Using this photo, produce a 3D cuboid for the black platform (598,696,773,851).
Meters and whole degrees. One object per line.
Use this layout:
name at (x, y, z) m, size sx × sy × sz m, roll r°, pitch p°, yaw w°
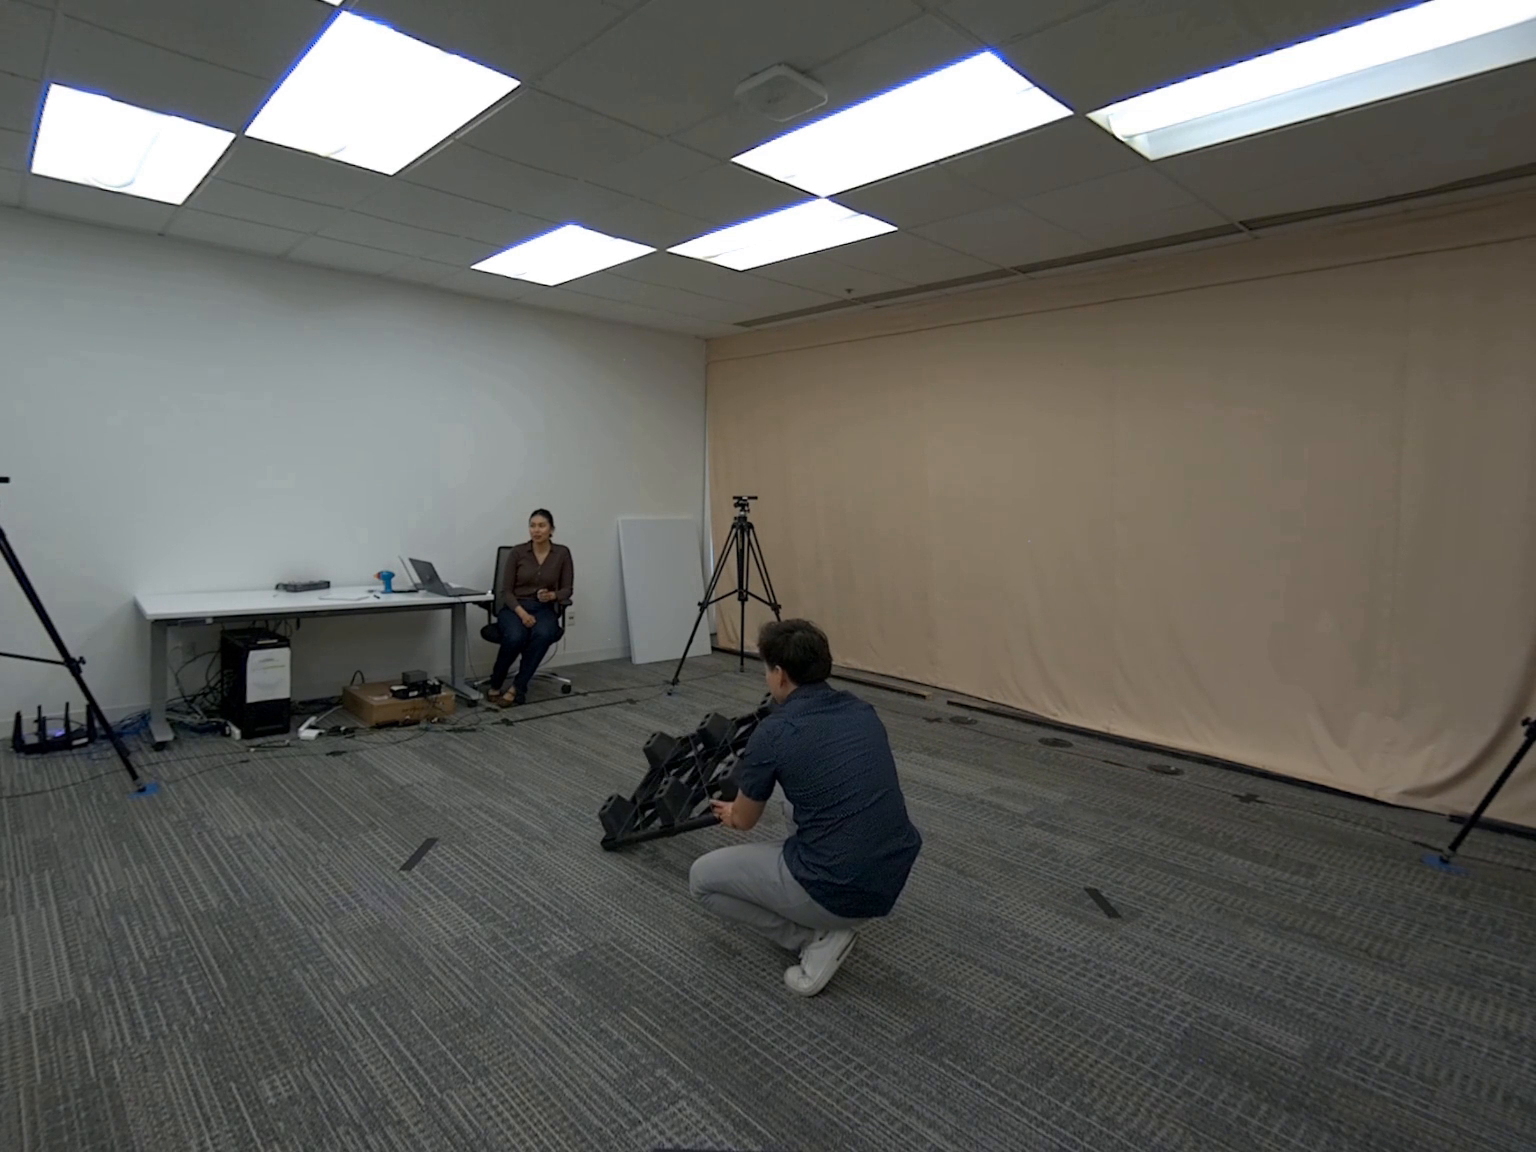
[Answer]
black platform at (-0.282, 0.734, 3.270) m, size 0.814 × 0.141 × 0.607 m, roll -25°, pitch 20°, yaw 37°
